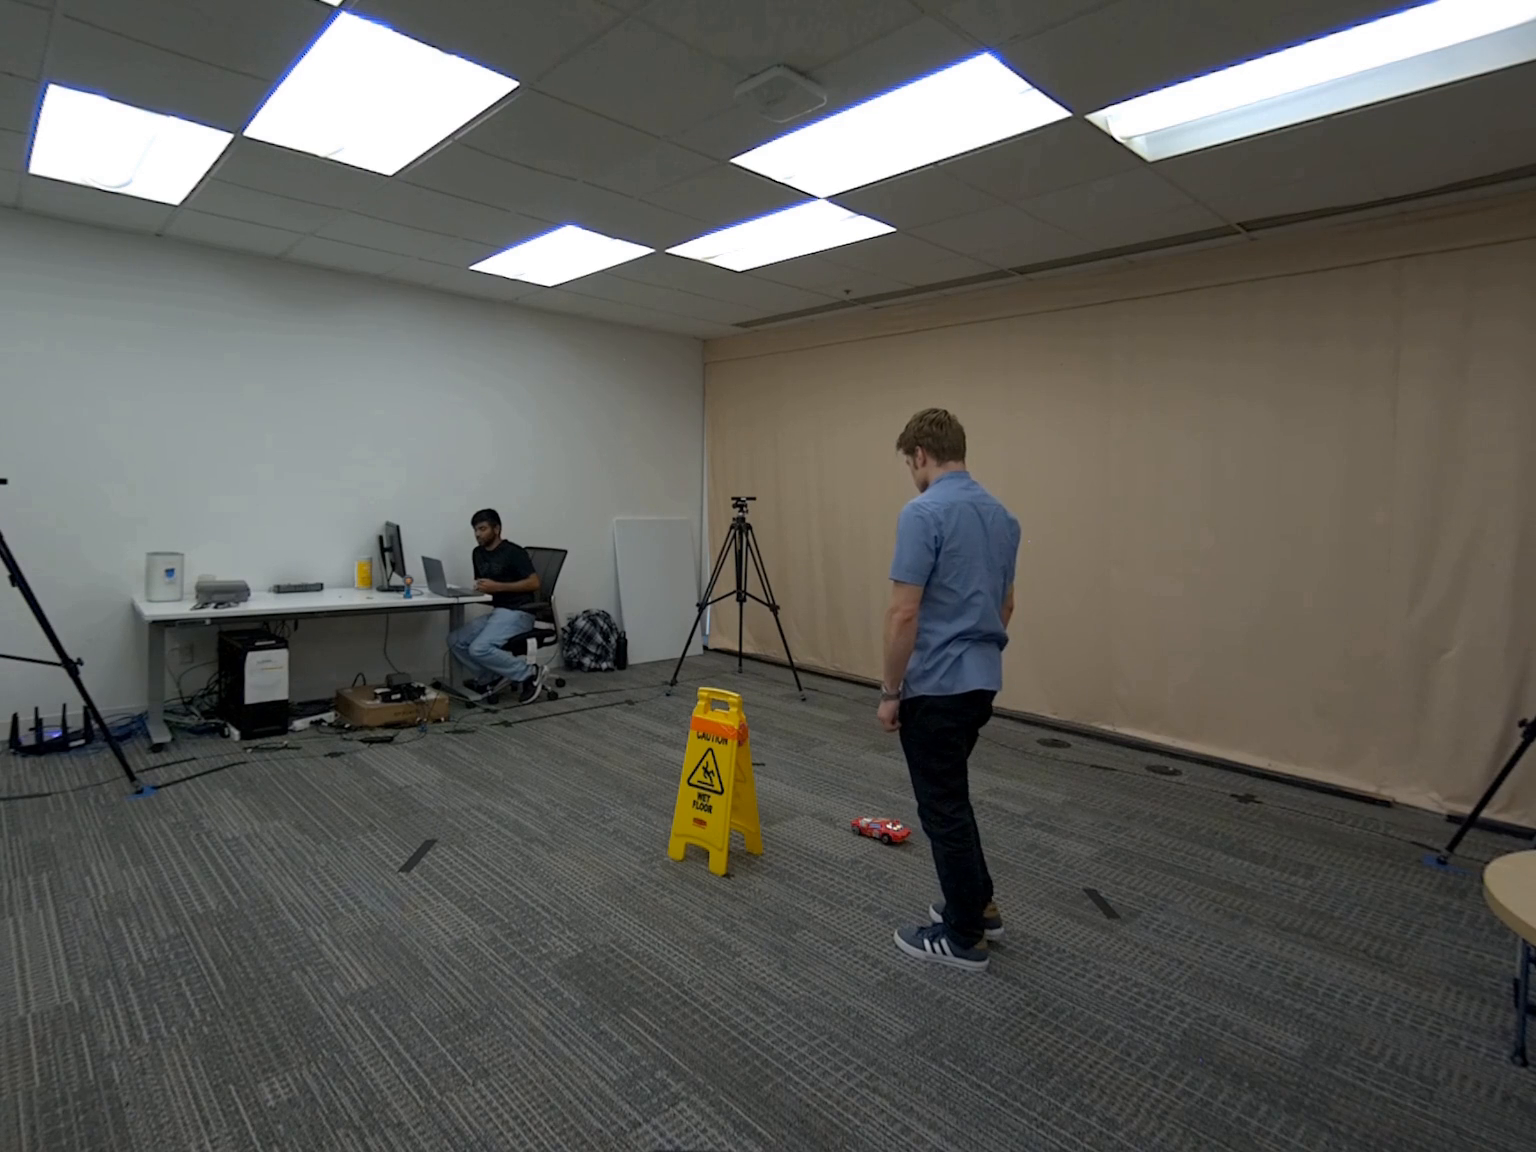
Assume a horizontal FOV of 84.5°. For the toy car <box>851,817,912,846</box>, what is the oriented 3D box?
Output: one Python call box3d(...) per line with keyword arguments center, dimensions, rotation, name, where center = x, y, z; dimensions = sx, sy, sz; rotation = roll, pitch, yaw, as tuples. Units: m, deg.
box3d(center=(0.466, 1.056, 3.499), dimensions=(0.259, 0.083, 0.127), rotation=(-8, -3, 40), name="toy car")
